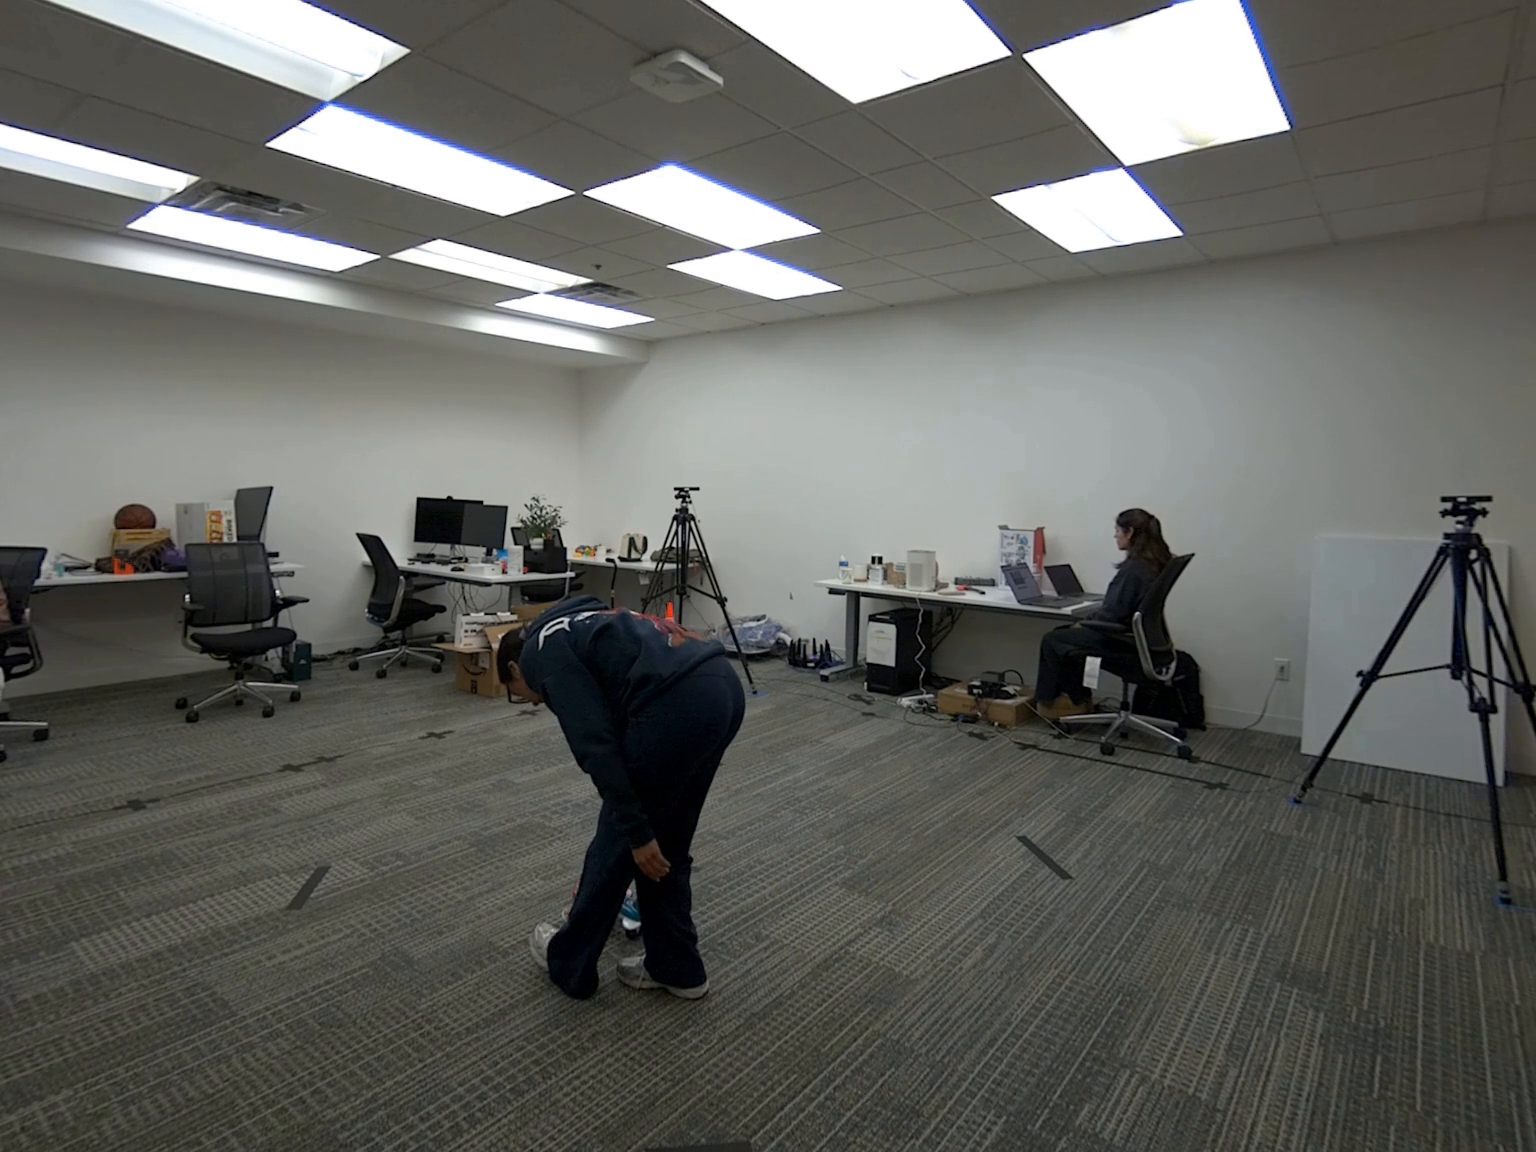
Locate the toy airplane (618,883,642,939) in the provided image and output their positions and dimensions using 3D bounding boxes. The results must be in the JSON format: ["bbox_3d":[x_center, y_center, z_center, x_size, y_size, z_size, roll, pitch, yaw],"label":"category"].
[{"bbox_3d":[-0.488,1.026,2.693,0.261,0.156,0.251,-1,5,4],"label":"toy airplane"}]
